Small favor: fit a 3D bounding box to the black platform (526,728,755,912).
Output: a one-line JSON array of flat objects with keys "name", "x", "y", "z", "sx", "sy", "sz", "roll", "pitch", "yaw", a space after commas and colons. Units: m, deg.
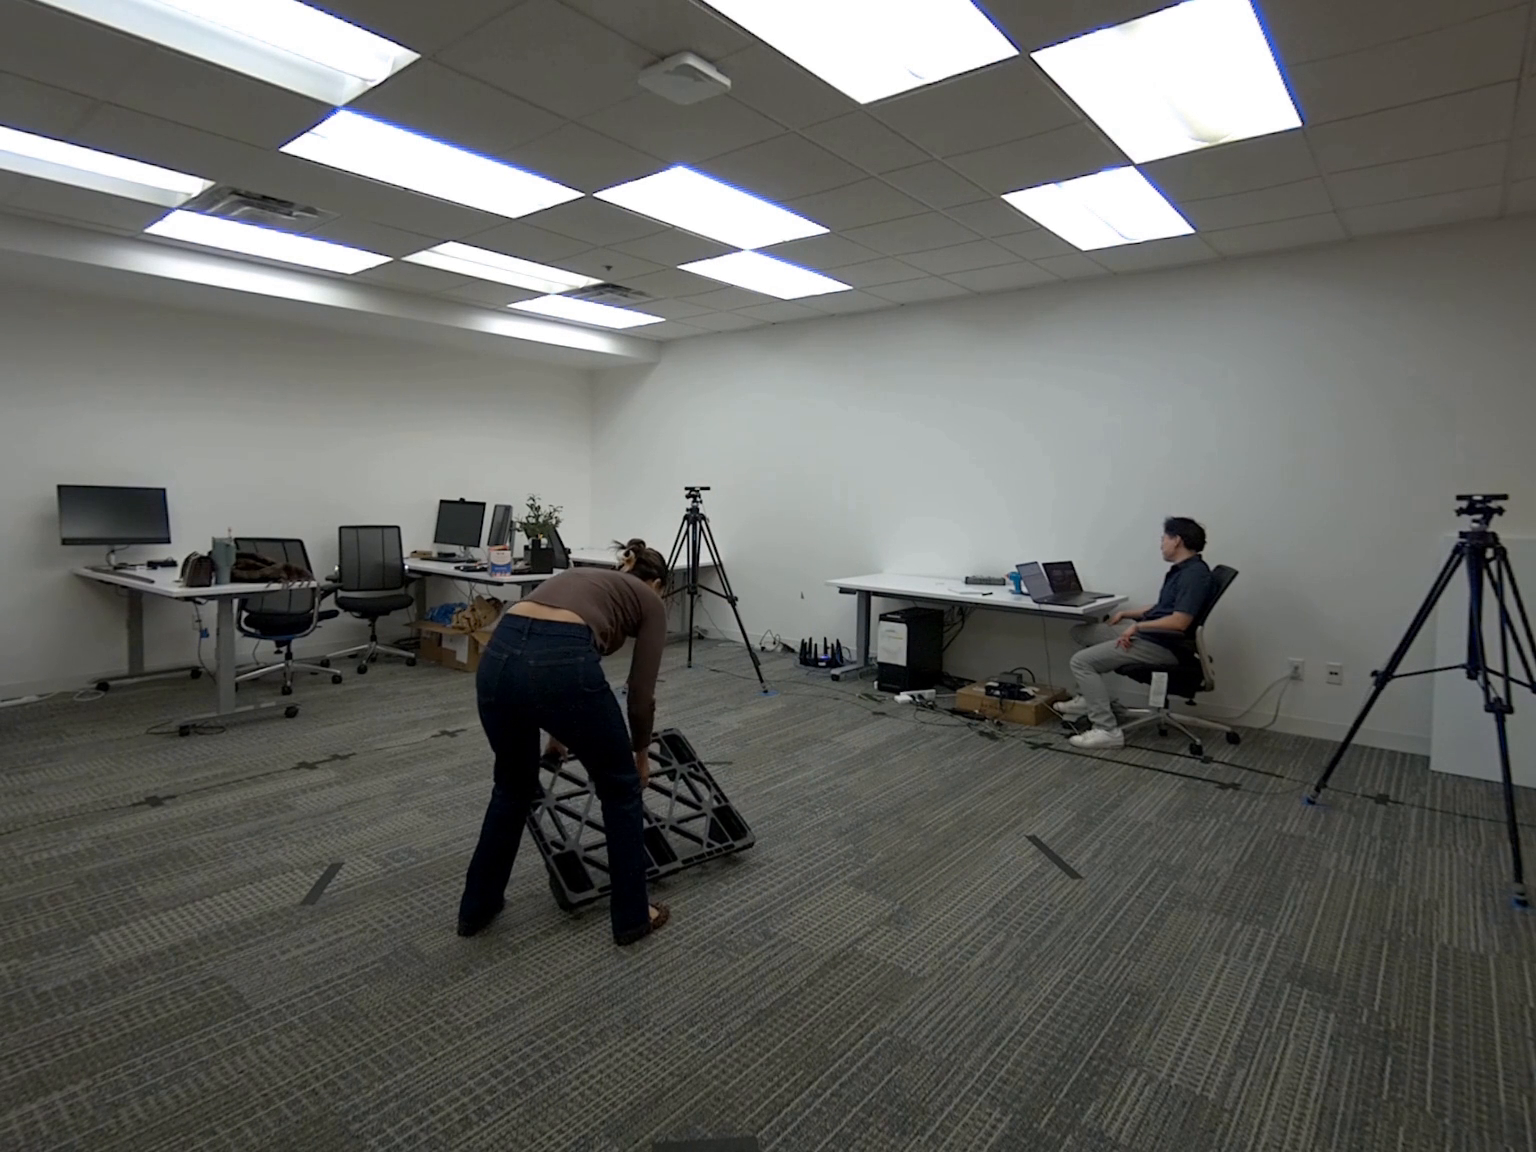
[{"name": "black platform", "x": -0.525, "y": 0.880, "z": 3.134, "sx": 0.782, "sy": 0.142, "sz": 0.630, "roll": -4, "pitch": 39, "yaw": -41}]
